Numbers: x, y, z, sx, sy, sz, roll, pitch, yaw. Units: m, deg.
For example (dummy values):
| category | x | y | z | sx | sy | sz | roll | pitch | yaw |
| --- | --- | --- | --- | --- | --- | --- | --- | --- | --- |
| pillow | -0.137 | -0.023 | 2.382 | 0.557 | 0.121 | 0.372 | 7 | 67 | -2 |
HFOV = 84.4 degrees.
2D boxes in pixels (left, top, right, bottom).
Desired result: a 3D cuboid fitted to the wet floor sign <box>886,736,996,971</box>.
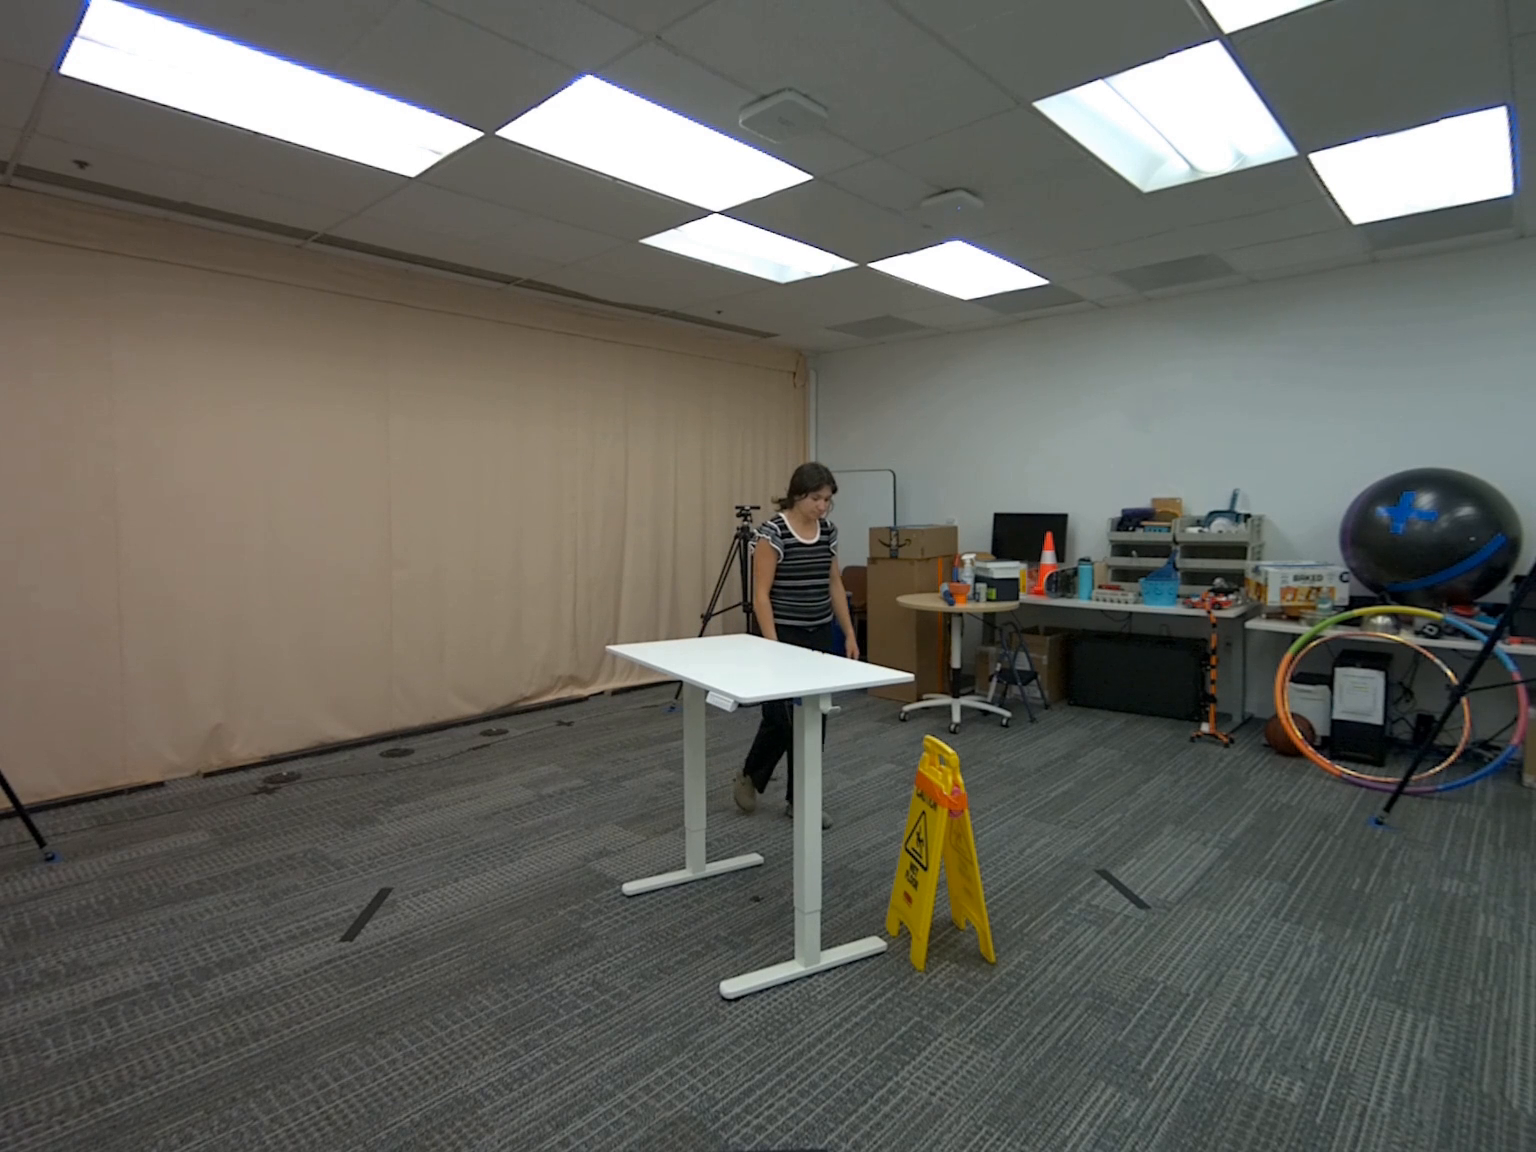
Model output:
| category | x | y | z | sx | sy | sz | roll | pitch | yaw |
| --- | --- | --- | --- | --- | --- | --- | --- | --- | --- |
| wet floor sign | 0.549 | 0.852 | 2.642 | 0.287 | 0.645 | 0.286 | 1 | 3 | -10 |
